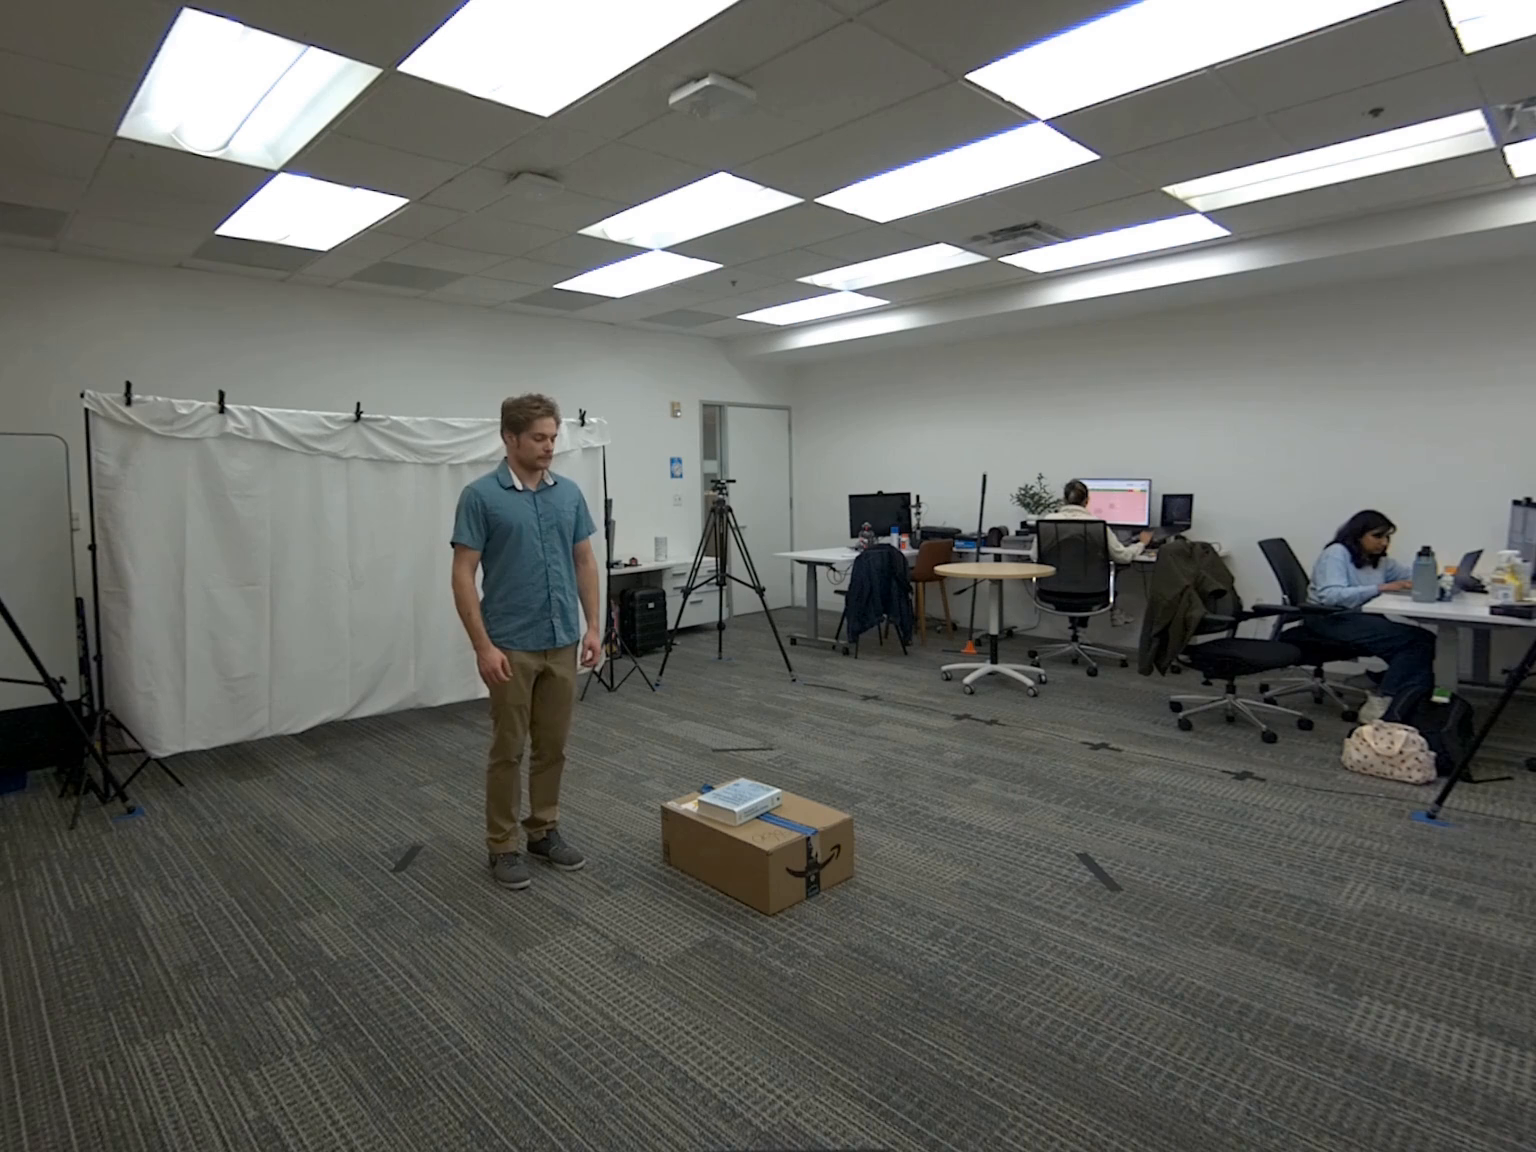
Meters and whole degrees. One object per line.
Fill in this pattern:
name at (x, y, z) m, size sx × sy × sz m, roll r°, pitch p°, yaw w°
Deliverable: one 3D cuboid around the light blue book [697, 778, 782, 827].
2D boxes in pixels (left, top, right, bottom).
light blue book at (-0.101, 0.801, 3.078) m, size 0.197 × 0.059 × 0.254 m, roll 4°, pitch 8°, yaw 39°
